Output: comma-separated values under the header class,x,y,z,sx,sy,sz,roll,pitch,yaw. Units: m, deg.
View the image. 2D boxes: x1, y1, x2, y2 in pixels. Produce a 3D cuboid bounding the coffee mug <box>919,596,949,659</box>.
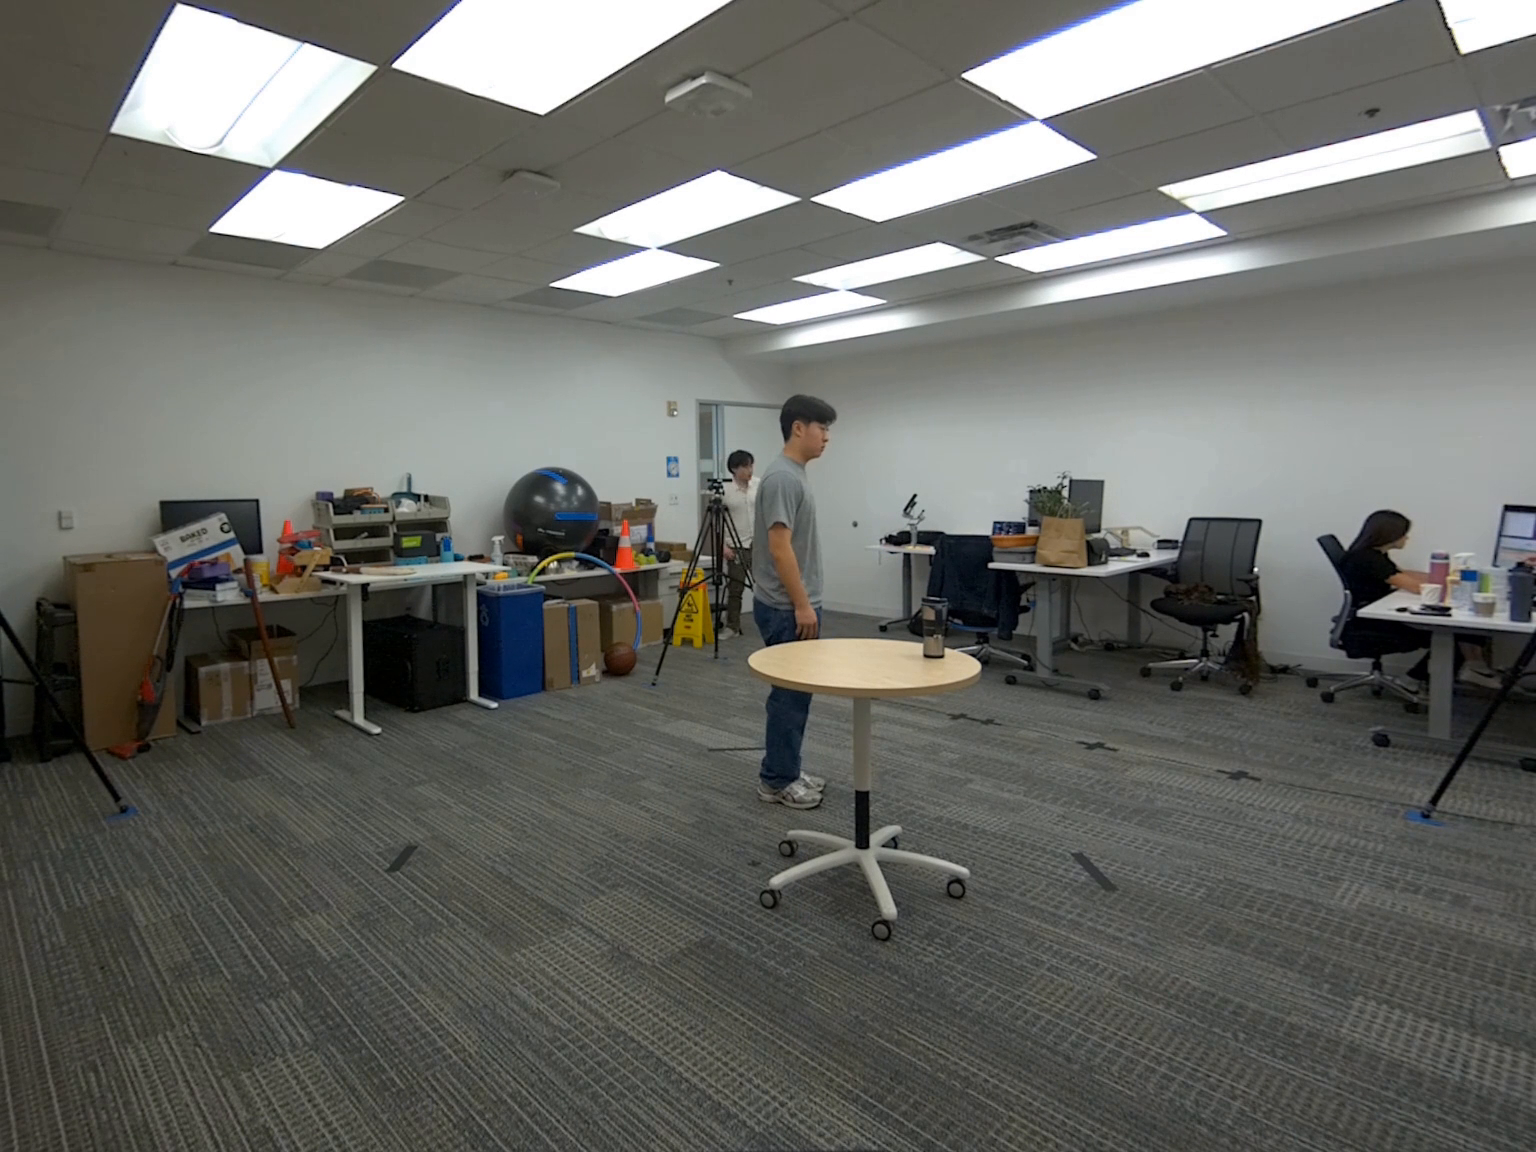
class,x,y,z,sx,sy,sz,roll,pitch,yaw
coffee mug,0.552,0.177,2.885,0.090,0.202,0.119,4,3,29
